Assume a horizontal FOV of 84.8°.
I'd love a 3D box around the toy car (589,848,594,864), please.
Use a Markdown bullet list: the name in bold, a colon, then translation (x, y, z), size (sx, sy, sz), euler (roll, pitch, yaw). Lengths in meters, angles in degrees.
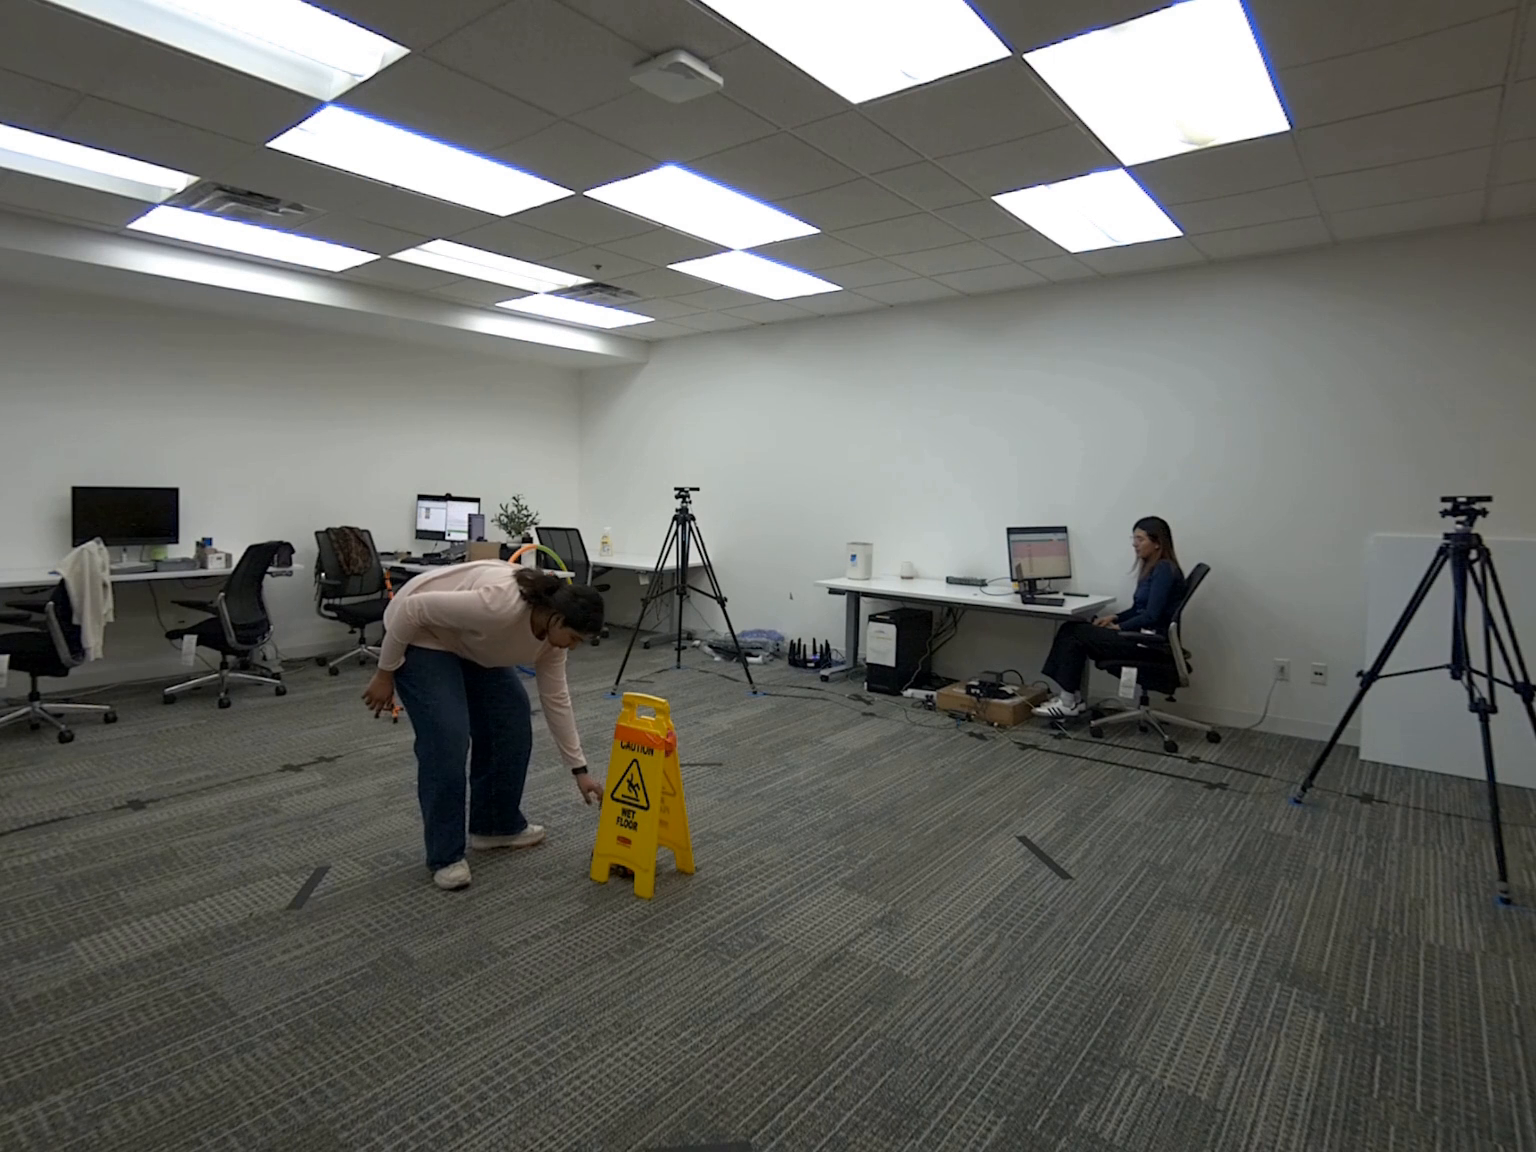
- **toy car**: translation (-0.538, 1.037, 3.087), size (0.262, 0.083, 0.126), euler (-4, -1, 40)
